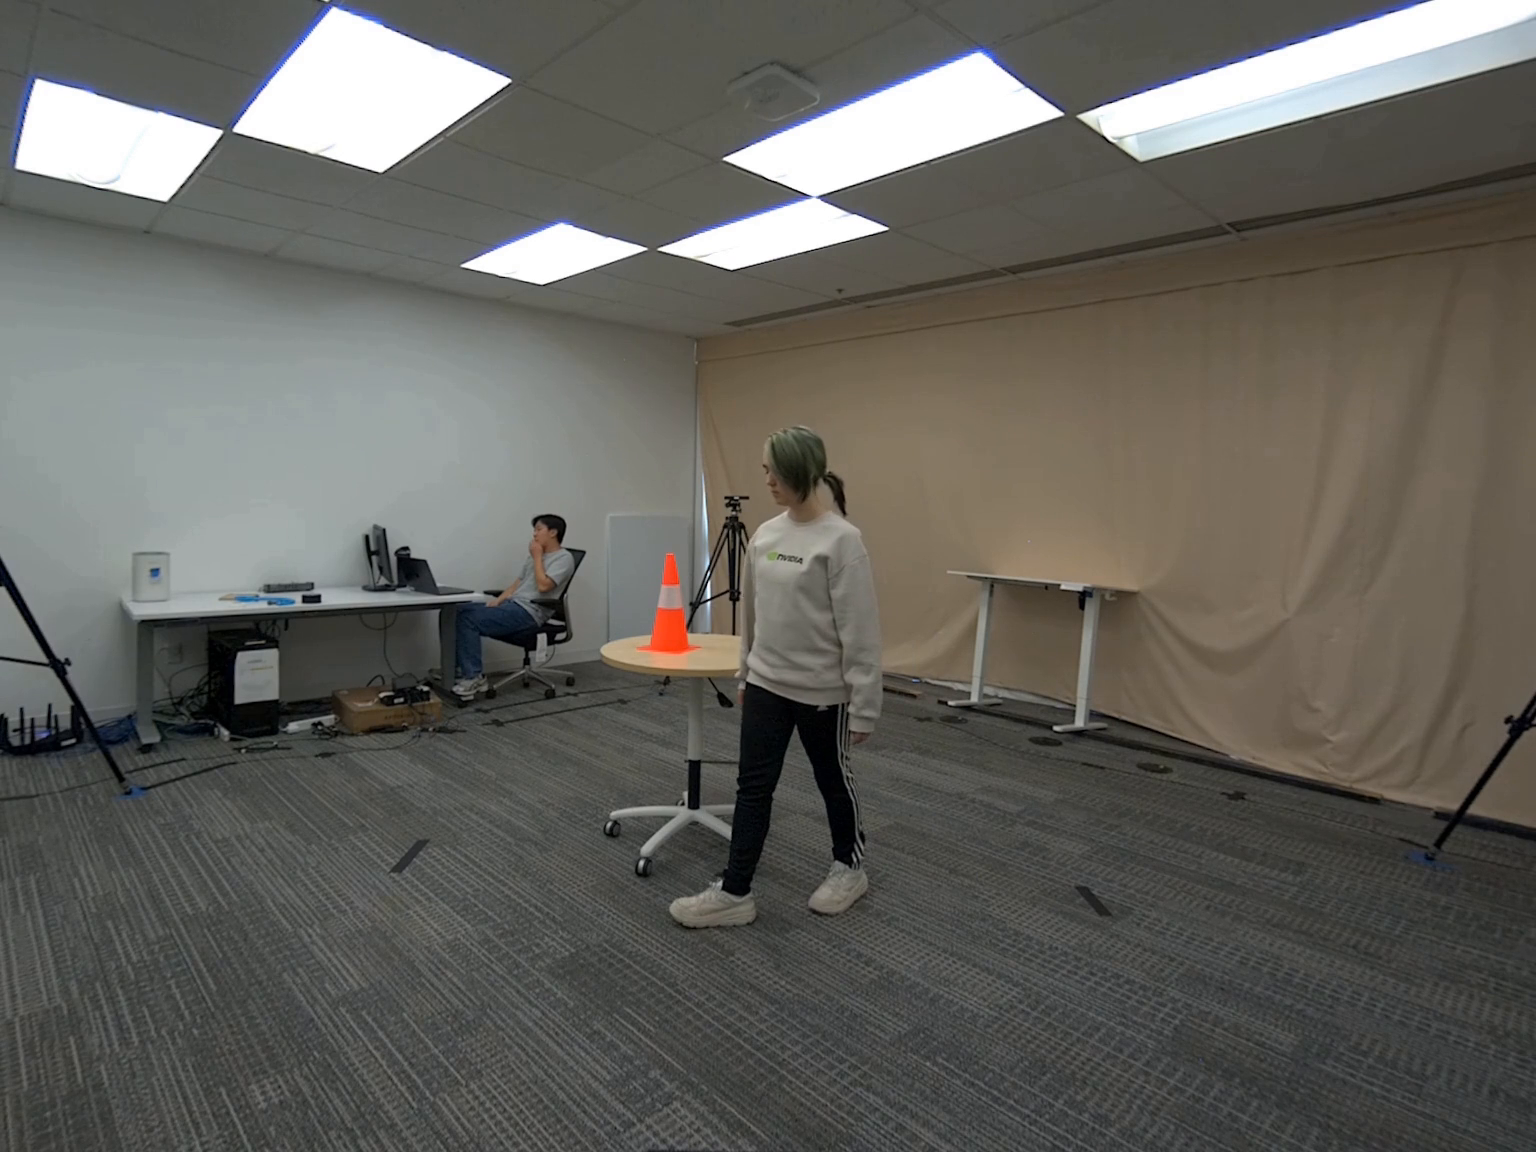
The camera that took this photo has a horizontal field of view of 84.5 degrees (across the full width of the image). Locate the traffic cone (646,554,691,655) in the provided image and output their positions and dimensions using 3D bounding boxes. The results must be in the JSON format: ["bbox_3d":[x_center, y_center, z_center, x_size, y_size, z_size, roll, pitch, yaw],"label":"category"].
[{"bbox_3d":[-0.394,0.104,3.361,0.208,0.382,0.201,5,5,29],"label":"traffic cone"}]
